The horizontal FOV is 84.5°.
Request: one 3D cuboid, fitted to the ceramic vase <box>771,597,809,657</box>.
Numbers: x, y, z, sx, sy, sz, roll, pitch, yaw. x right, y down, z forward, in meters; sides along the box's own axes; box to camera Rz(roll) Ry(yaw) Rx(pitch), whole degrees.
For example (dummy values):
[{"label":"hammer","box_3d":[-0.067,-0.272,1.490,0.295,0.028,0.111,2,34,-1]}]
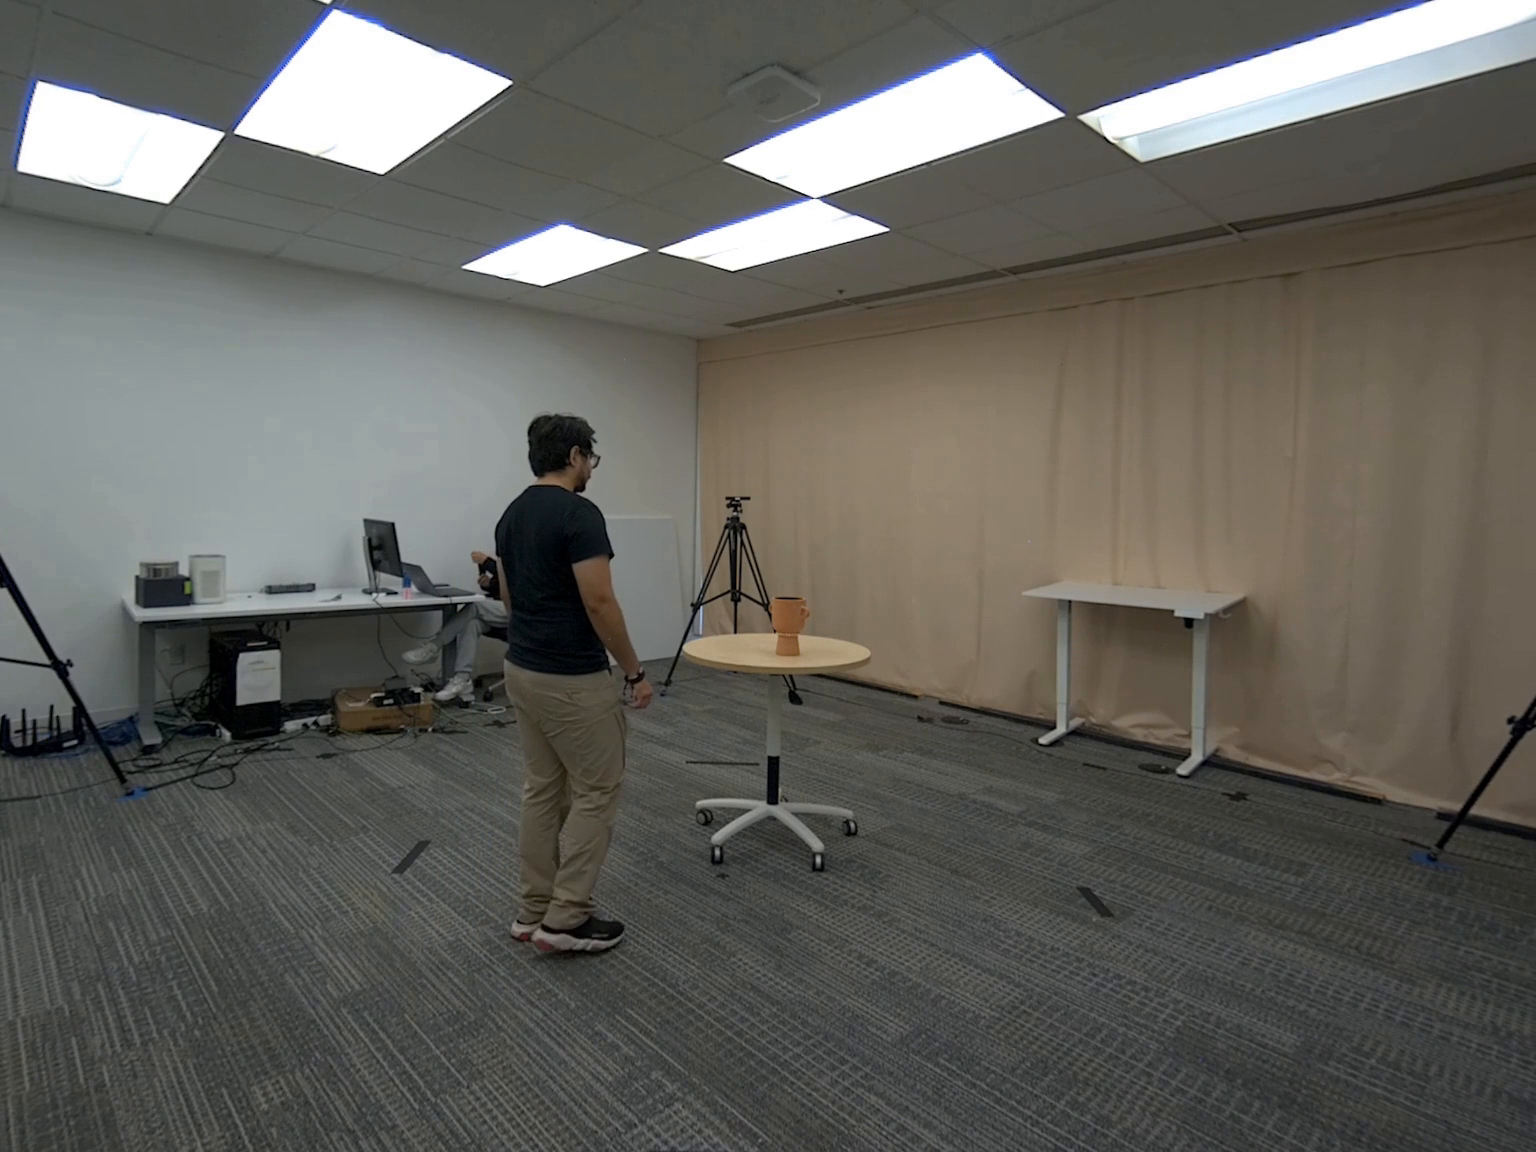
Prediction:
[{"label":"ceramic vase","box_3d":[0.076,0.200,3.329,0.134,0.219,0.160,1,4,-9]}]
